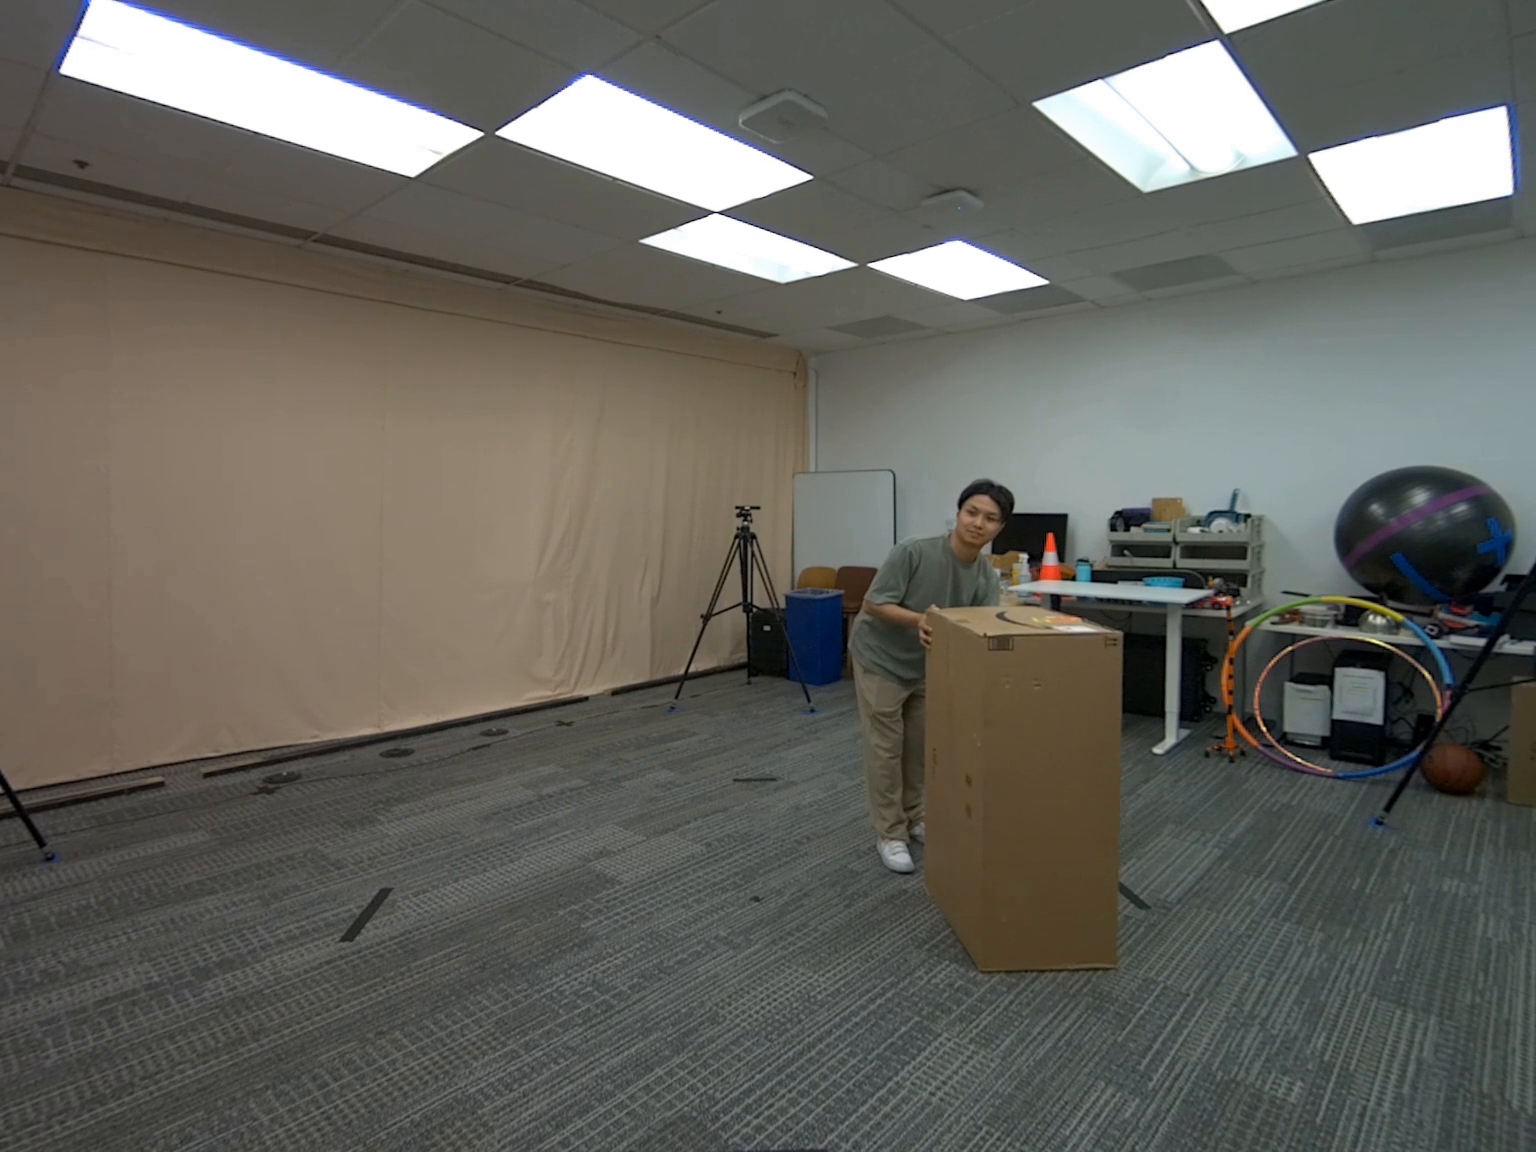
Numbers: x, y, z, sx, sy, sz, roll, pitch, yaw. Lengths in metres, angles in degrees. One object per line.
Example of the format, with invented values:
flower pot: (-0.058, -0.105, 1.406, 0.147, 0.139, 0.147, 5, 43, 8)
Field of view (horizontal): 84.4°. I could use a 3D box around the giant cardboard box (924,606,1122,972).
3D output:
giant cardboard box: (0.811, 0.650, 2.772, 0.424, 1.023, 0.581, -1, 4, -5)
